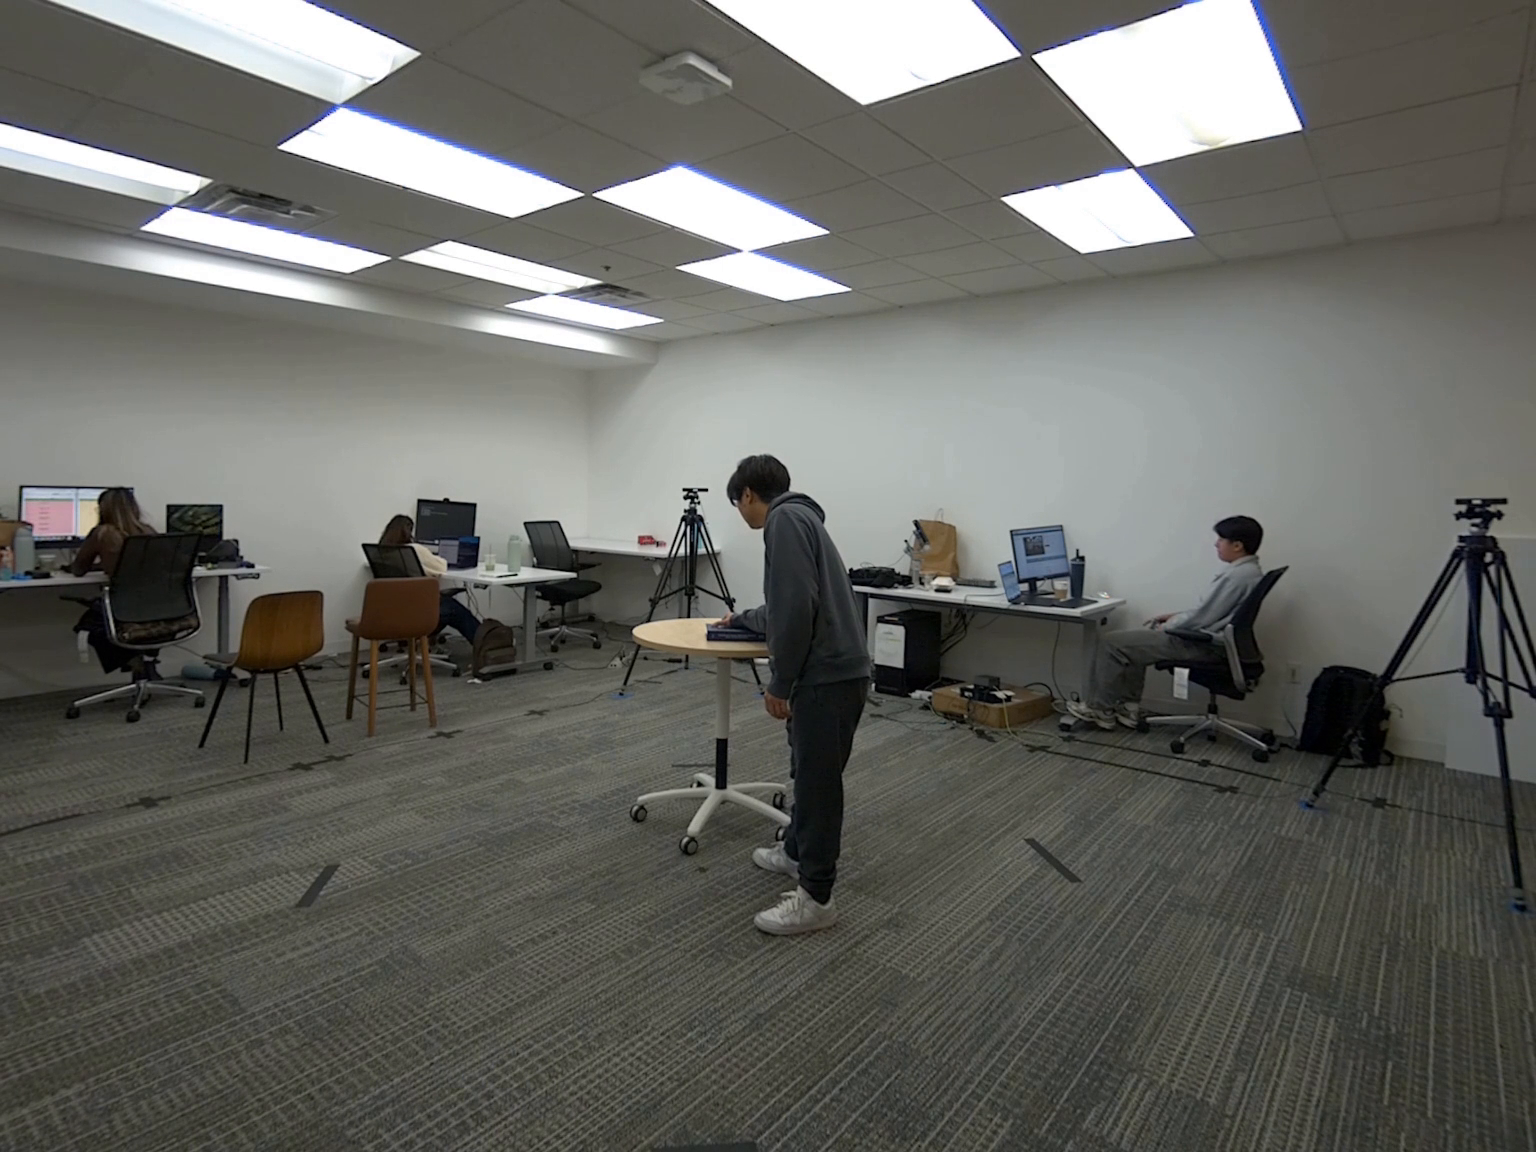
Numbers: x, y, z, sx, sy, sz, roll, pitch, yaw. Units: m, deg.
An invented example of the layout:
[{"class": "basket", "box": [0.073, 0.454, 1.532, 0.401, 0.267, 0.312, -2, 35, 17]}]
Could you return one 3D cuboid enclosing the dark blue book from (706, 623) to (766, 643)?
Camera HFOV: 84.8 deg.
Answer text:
[{"class": "dark blue book", "box": [-0.143, 0.224, 3.416, 0.244, 0.045, 0.165, 3, 7, -5]}]
